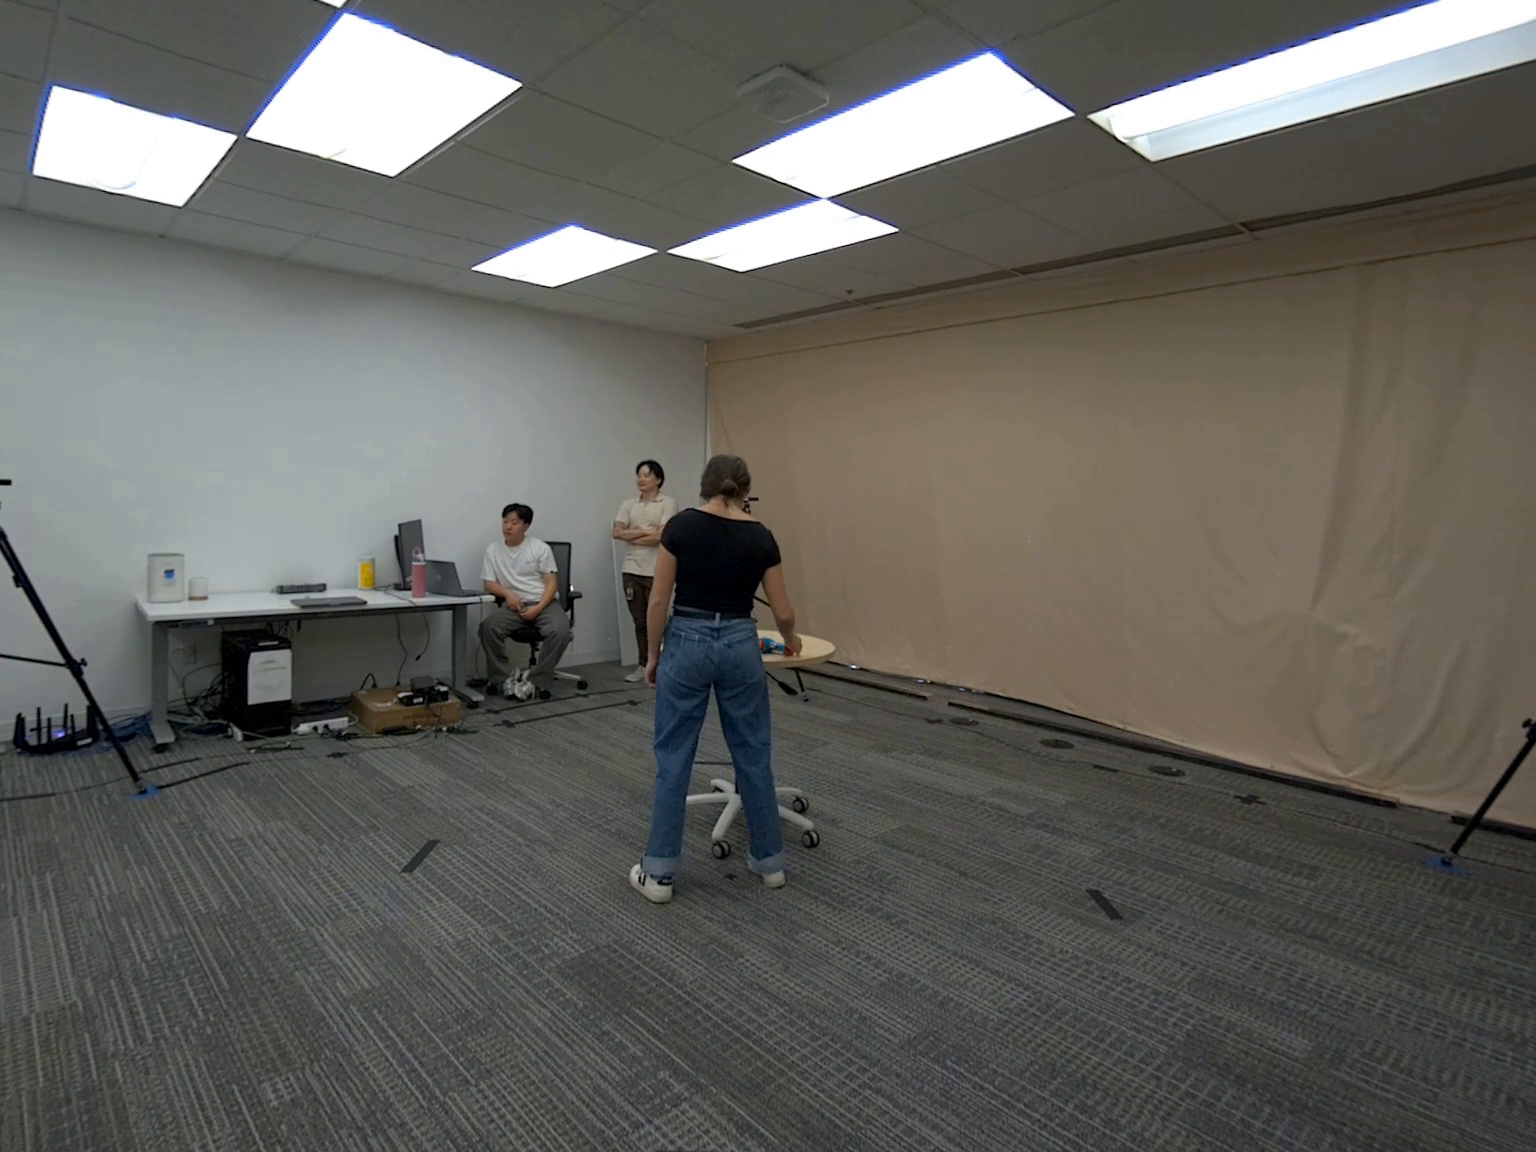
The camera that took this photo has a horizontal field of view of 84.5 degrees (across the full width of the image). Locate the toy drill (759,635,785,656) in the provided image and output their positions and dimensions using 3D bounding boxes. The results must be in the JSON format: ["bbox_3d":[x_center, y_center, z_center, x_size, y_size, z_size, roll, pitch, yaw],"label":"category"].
[{"bbox_3d":[0.010,0.284,3.328,0.150,0.061,0.165,6,-3,38],"label":"toy drill"}]
